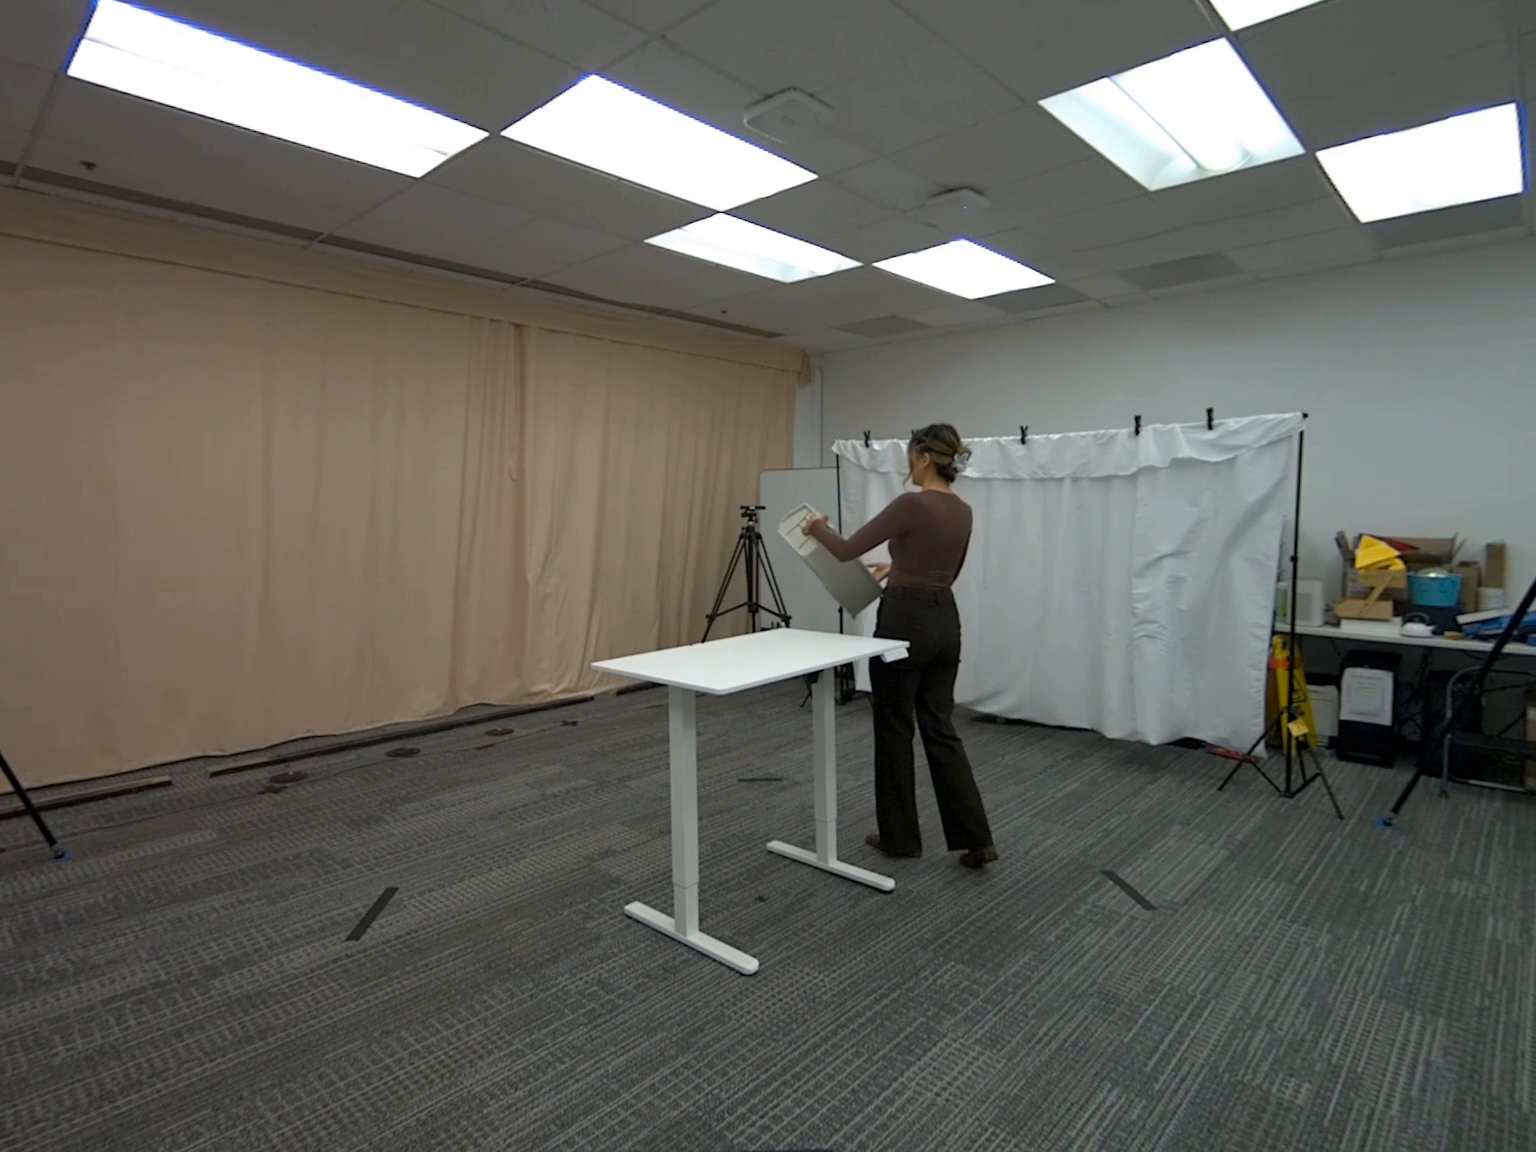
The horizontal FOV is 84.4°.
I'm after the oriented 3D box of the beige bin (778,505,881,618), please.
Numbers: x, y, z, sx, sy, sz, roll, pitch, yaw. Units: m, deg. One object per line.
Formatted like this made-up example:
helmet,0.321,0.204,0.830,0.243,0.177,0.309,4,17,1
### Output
beige bin,0.274,-0.070,3.662,0.189,0.411,0.387,-40,26,3
